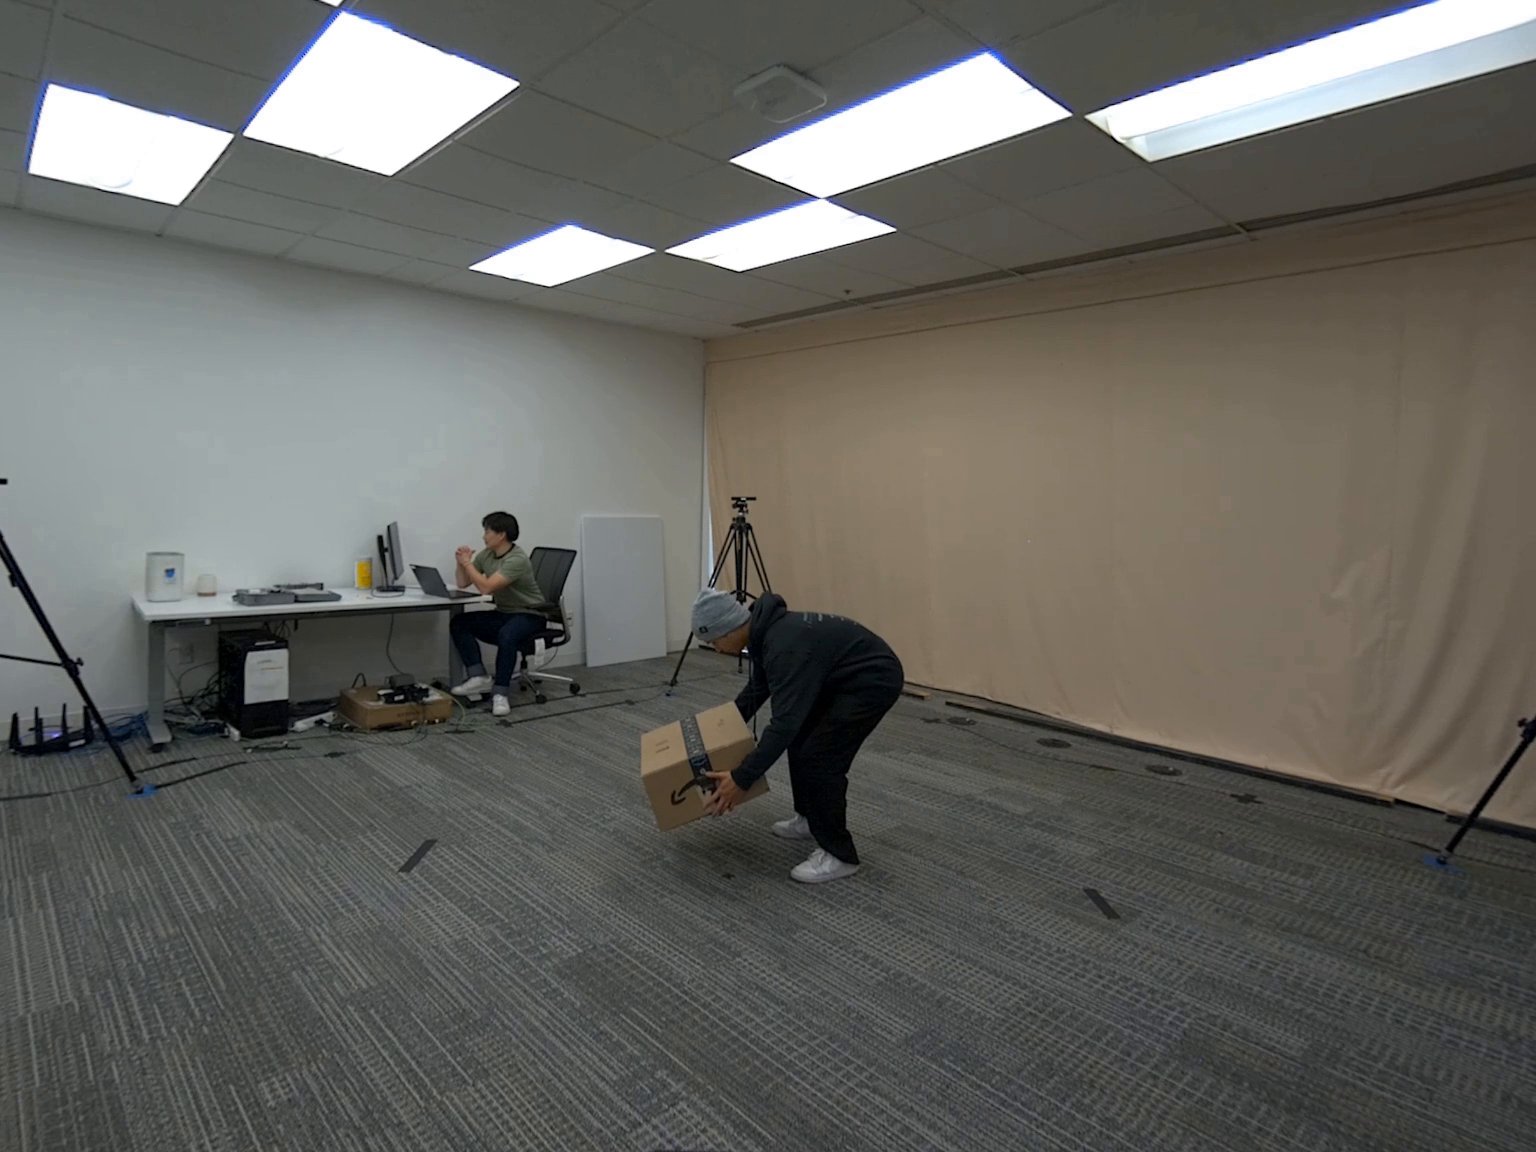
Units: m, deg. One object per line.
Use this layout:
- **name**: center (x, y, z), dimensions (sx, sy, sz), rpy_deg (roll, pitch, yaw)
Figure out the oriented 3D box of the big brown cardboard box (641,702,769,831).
- **big brown cardboard box**: center (-0.269, 0.717, 3.251), dimensions (0.416, 0.232, 0.593), rpy_deg (-19, 5, -5)
